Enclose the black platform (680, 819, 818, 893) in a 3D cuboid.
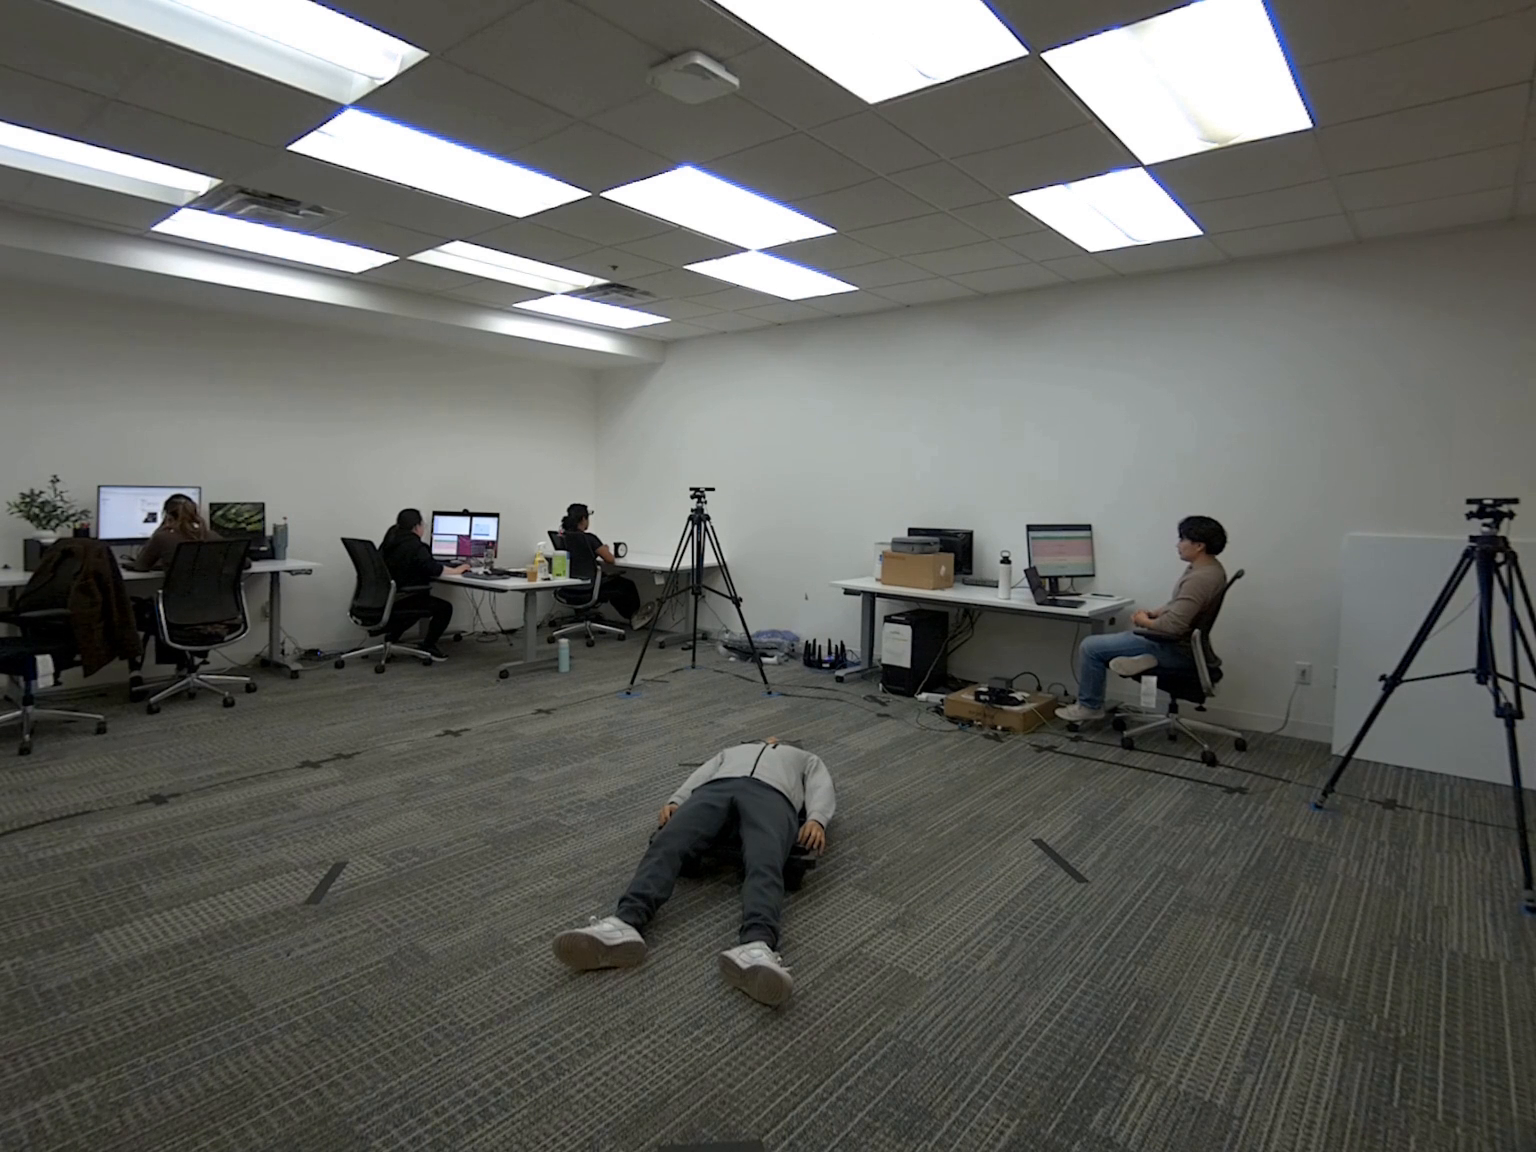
[{"bbox_3d":[-0.078,0.963,3.353,0.614,0.143,0.796,-1,4,13],"label":"black platform"}]
